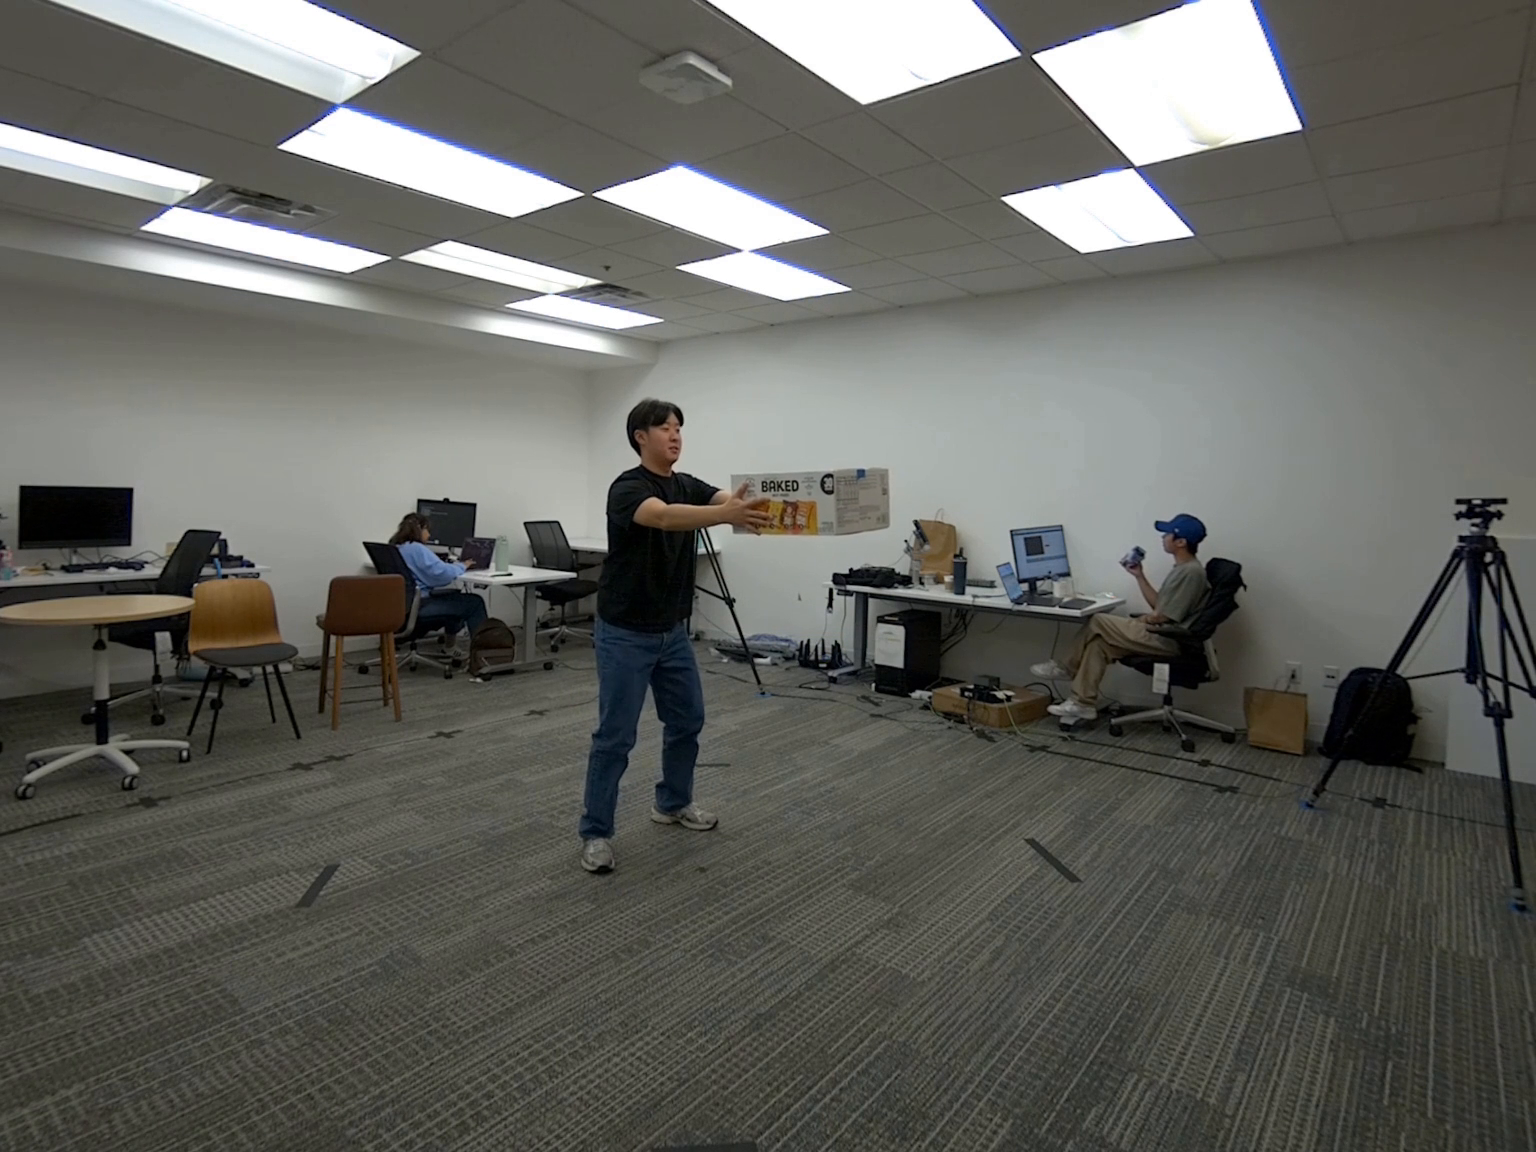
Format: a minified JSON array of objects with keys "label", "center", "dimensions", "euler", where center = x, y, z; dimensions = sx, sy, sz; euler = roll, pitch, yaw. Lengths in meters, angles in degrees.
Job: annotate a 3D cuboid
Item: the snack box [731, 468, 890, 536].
[{"label":"snack box","center":[0.133,-0.249,2.845],"dimensions":[0.418,0.204,0.331],"euler":[3,9,38]}]
